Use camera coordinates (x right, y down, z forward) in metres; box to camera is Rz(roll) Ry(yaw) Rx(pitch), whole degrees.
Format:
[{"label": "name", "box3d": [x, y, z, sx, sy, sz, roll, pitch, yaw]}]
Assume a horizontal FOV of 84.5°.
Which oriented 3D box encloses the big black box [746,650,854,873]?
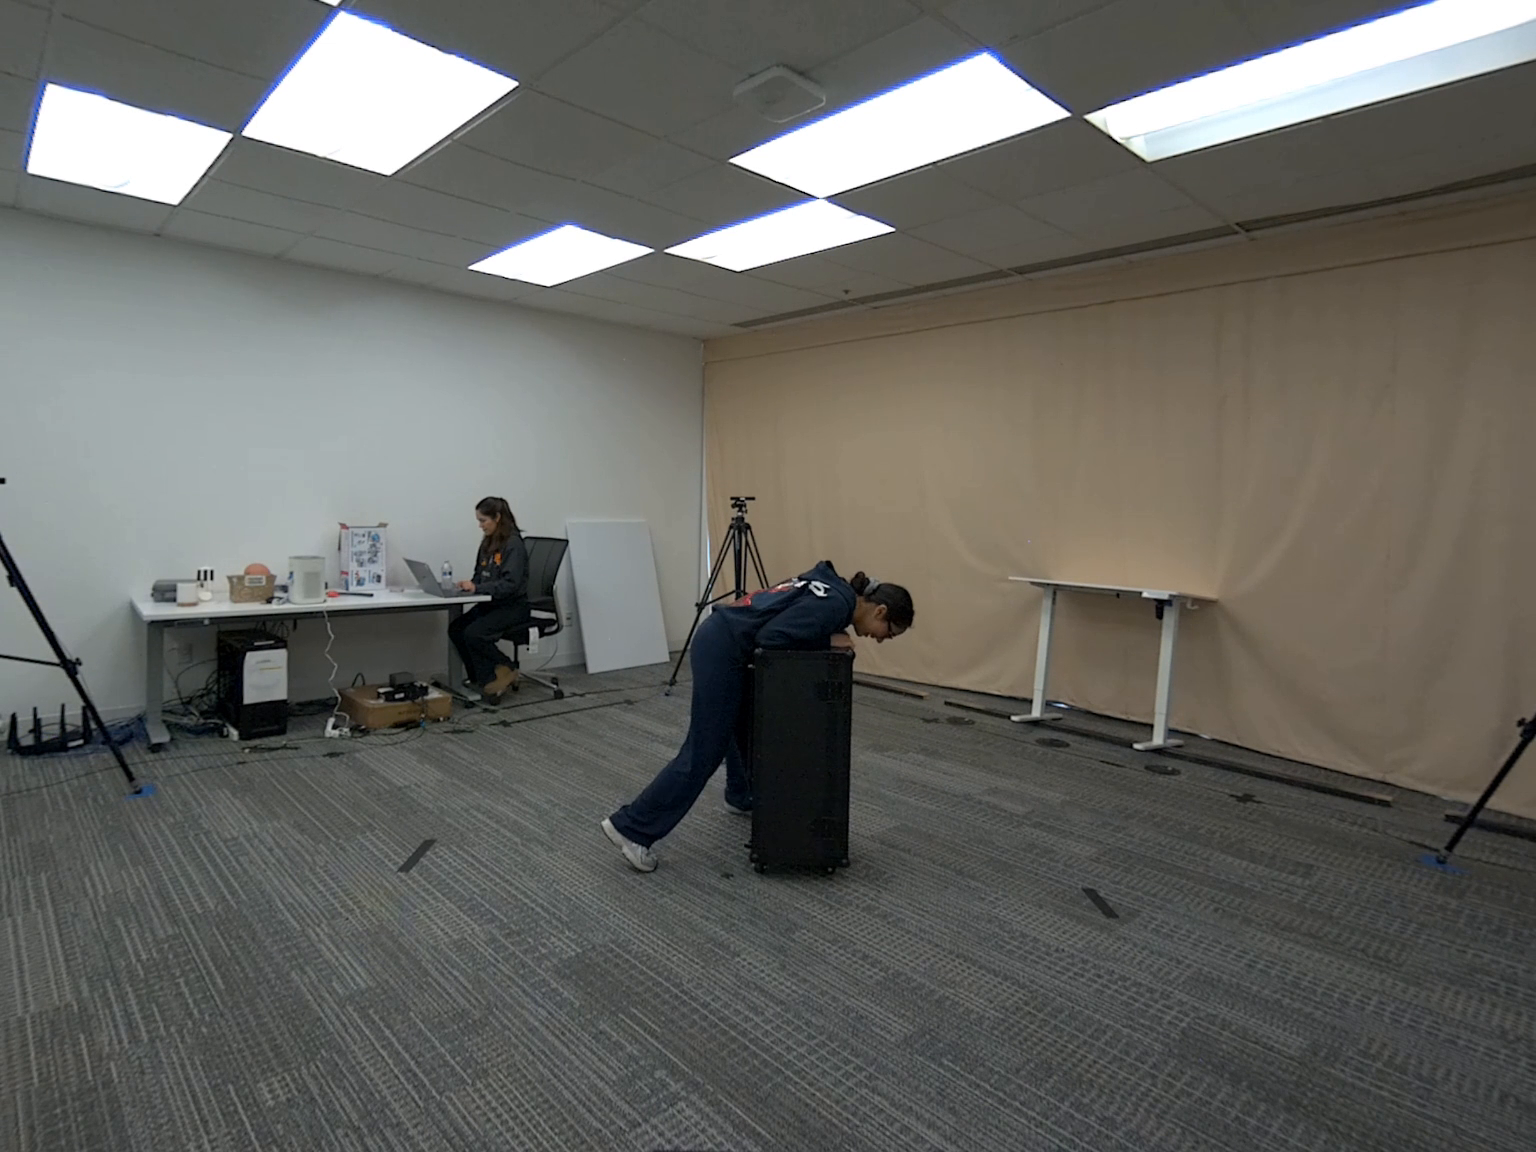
[{"label": "big black box", "box3d": [0.108, 0.676, 3.260, 0.397, 0.859, 0.522, 1, 4, 2]}]
